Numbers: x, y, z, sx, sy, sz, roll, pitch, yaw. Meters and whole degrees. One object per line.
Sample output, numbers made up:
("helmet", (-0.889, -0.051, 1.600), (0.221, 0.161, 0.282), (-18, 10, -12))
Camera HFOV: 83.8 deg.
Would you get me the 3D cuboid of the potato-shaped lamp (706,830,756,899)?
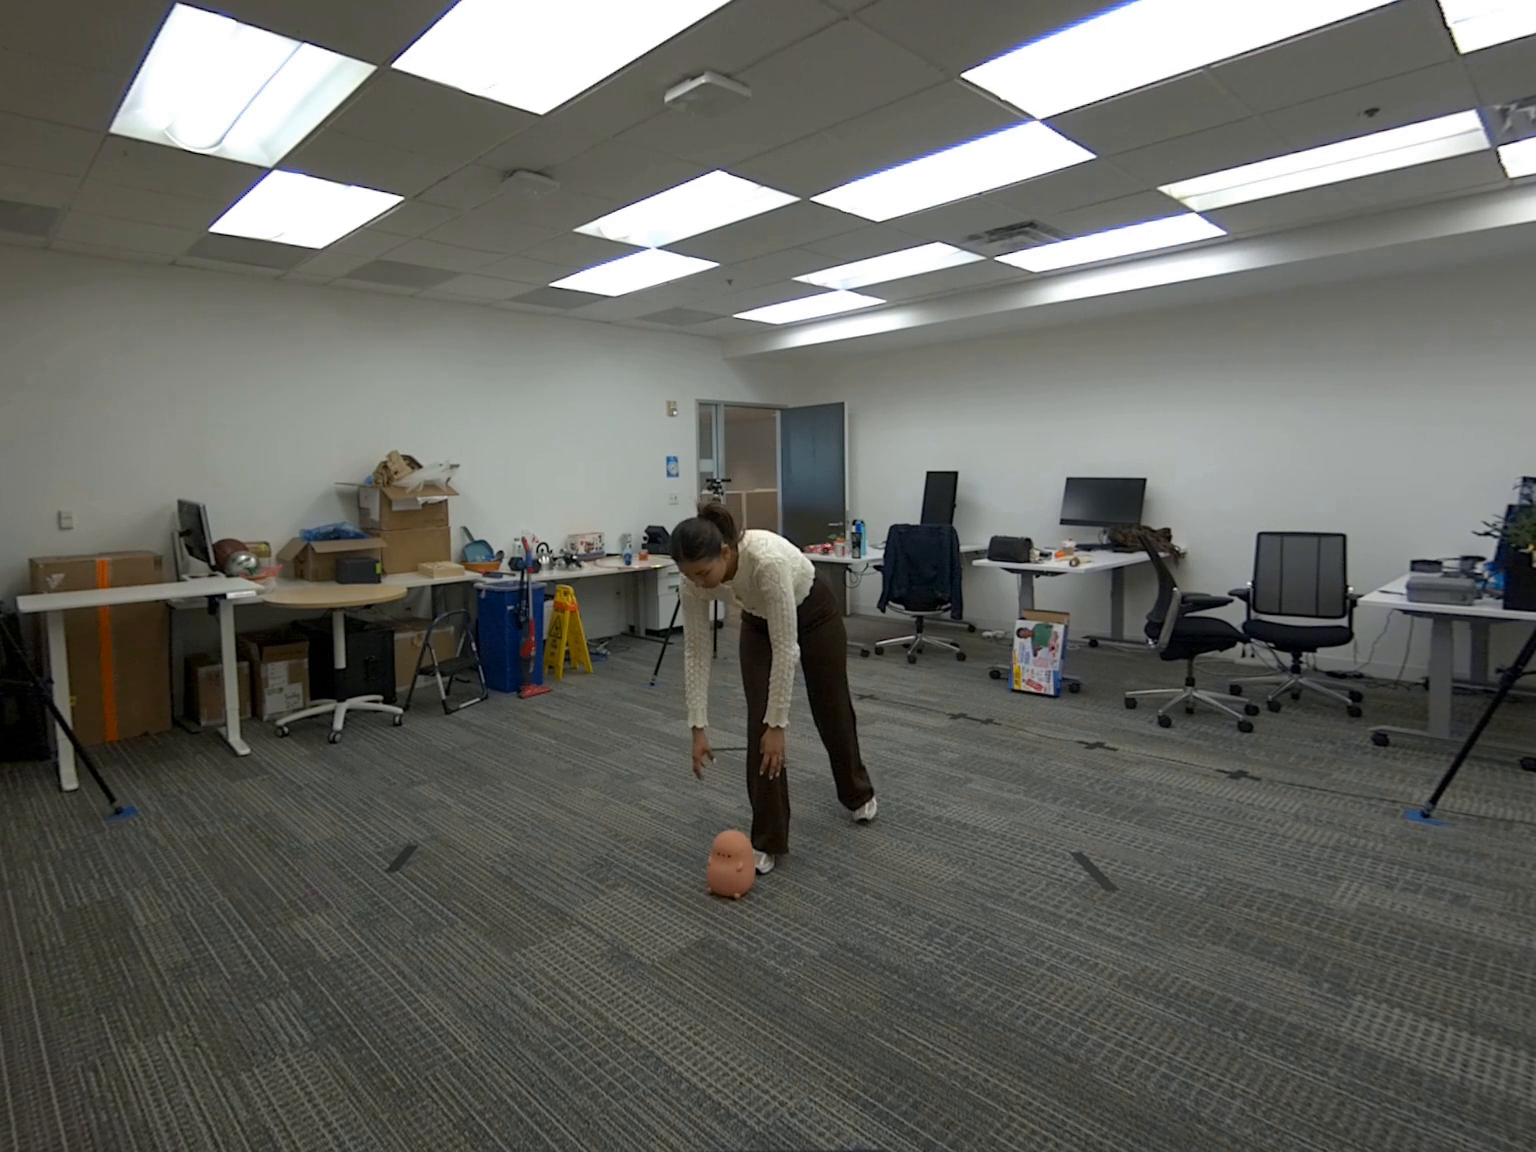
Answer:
("potato-shaped lamp", (-0.121, 0.972, 2.903), (0.169, 0.197, 0.168), (1, 4, 27))
